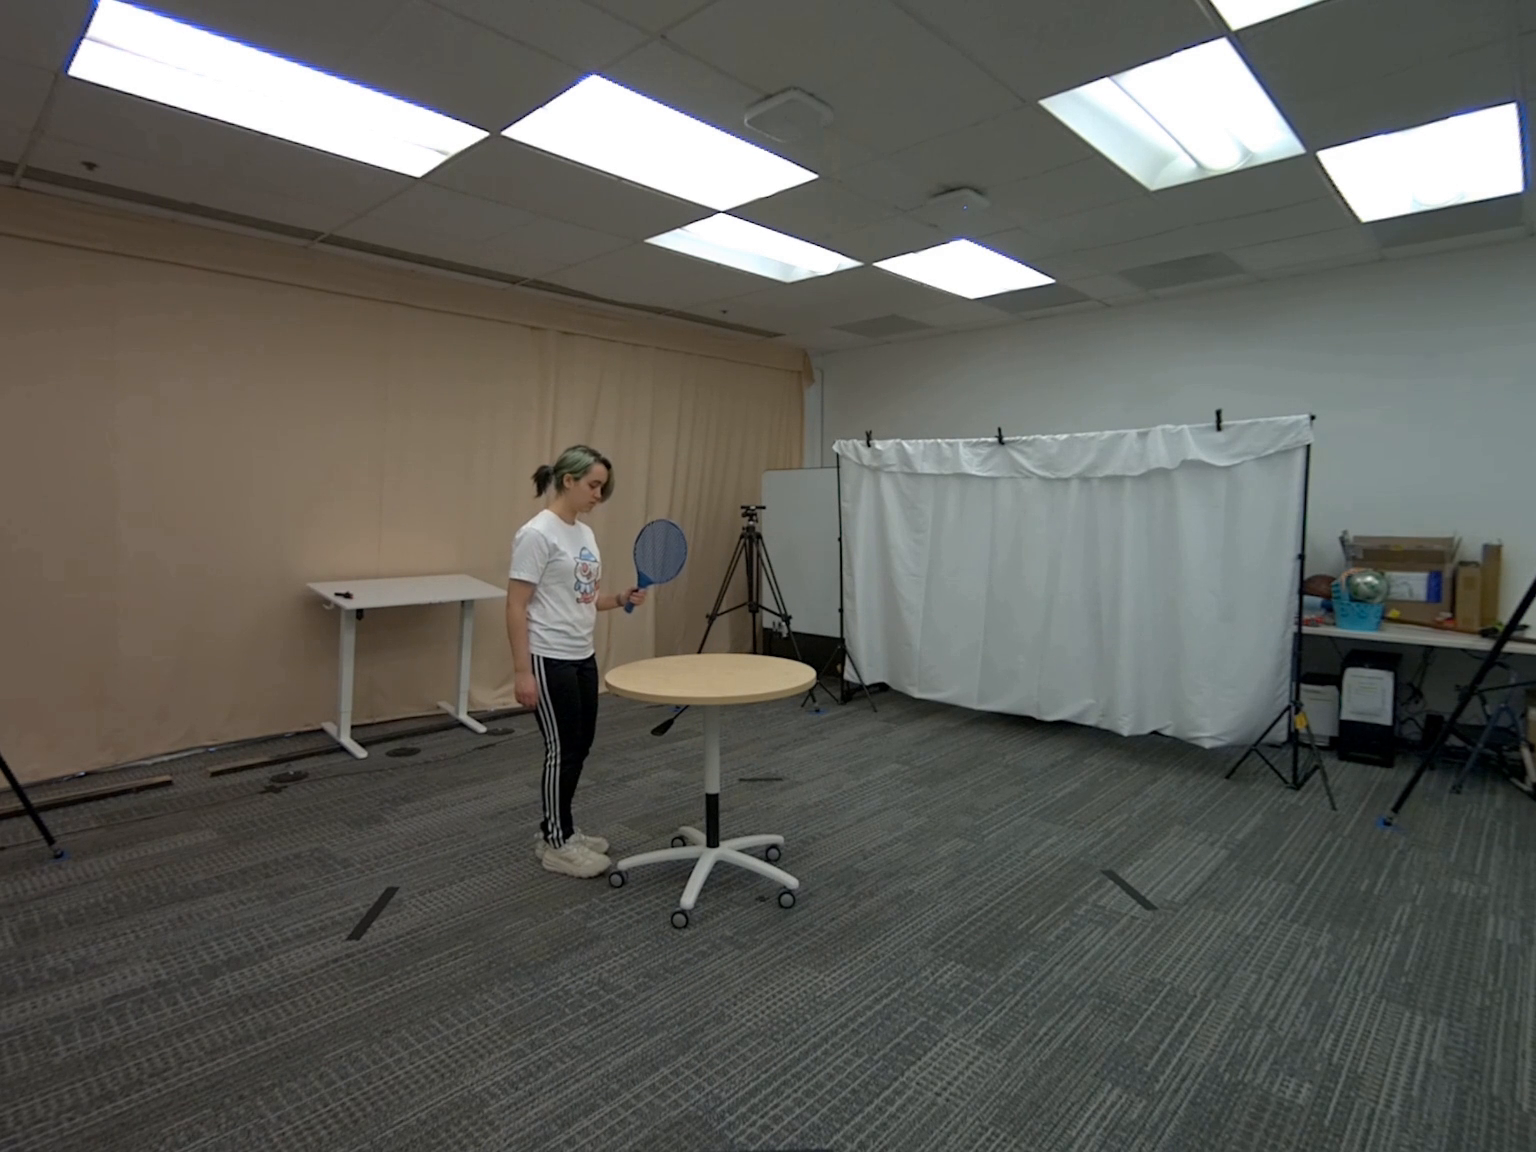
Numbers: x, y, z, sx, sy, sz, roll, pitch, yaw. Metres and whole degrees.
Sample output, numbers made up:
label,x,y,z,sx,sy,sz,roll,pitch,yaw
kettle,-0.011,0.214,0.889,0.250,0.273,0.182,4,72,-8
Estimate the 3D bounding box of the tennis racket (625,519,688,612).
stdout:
label,x,y,z,sx,sy,sz,roll,pitch,yaw
tennis racket,-0.465,-0.028,3.186,0.217,0.434,0.031,42,29,13
